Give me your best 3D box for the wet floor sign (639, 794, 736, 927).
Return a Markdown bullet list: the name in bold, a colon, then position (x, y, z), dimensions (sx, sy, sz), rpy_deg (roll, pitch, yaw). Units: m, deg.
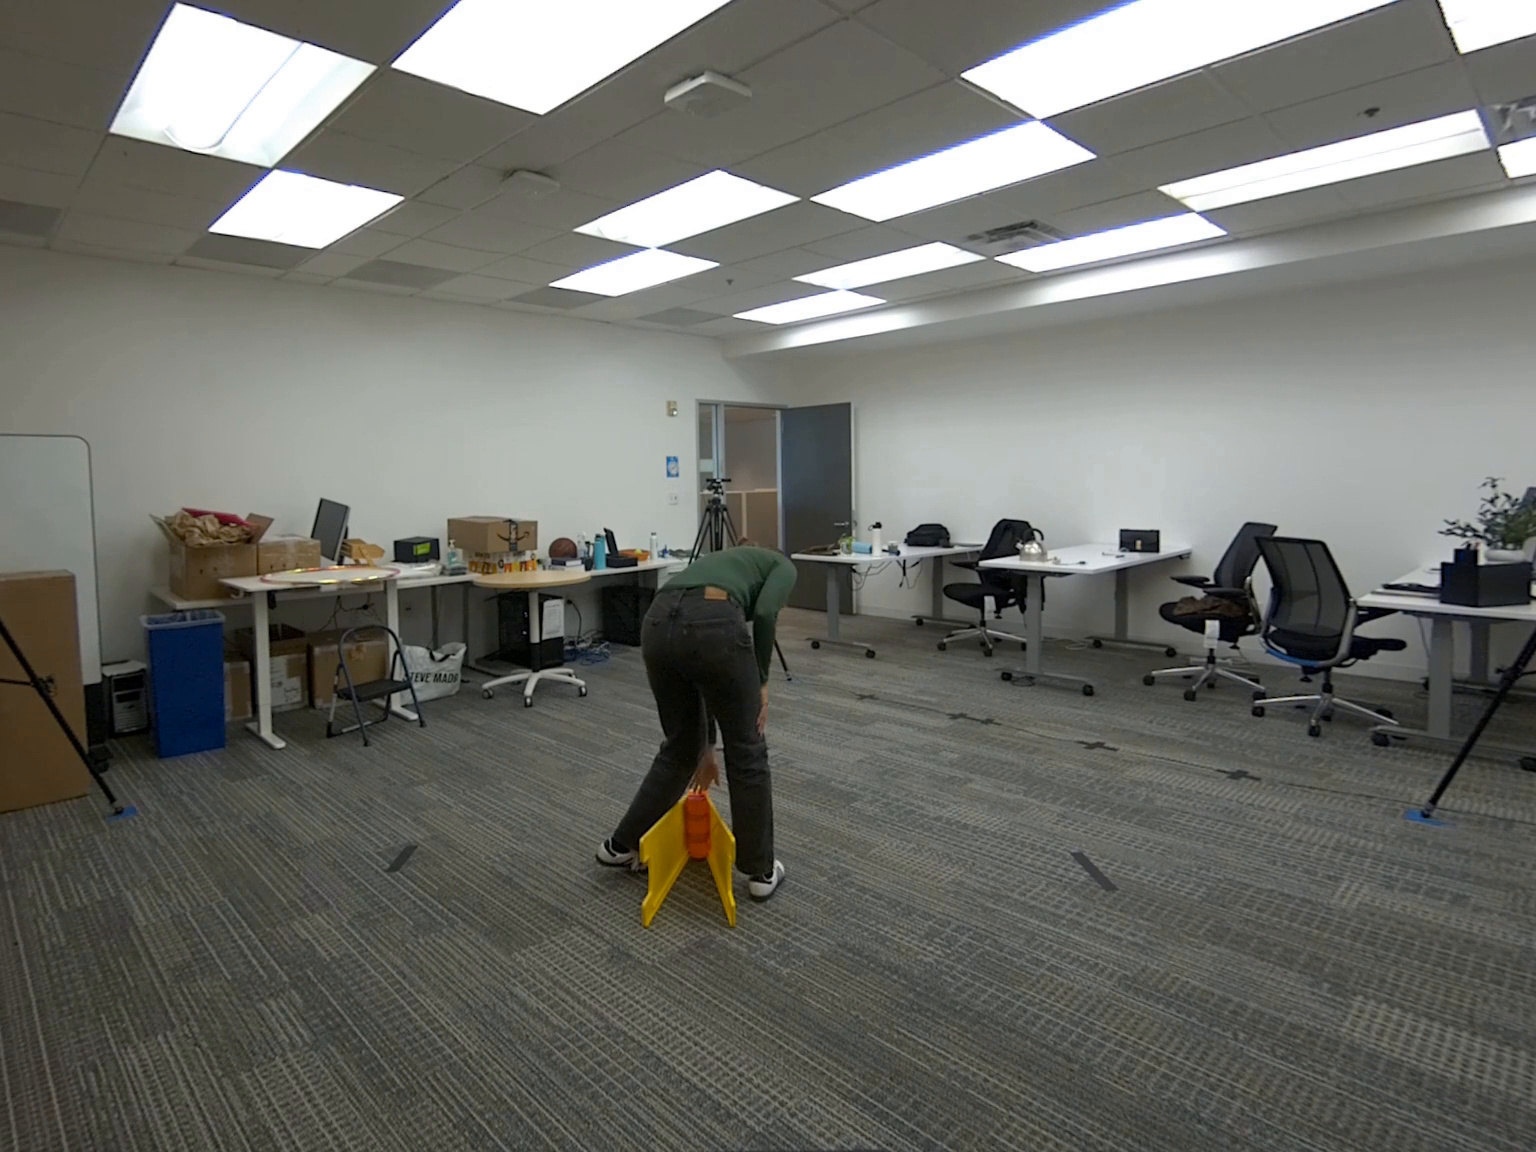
- **wet floor sign**: position (-0.257, 0.927, 2.985), dimensions (0.290, 0.281, 0.648), rpy_deg (-1, 4, -1)
